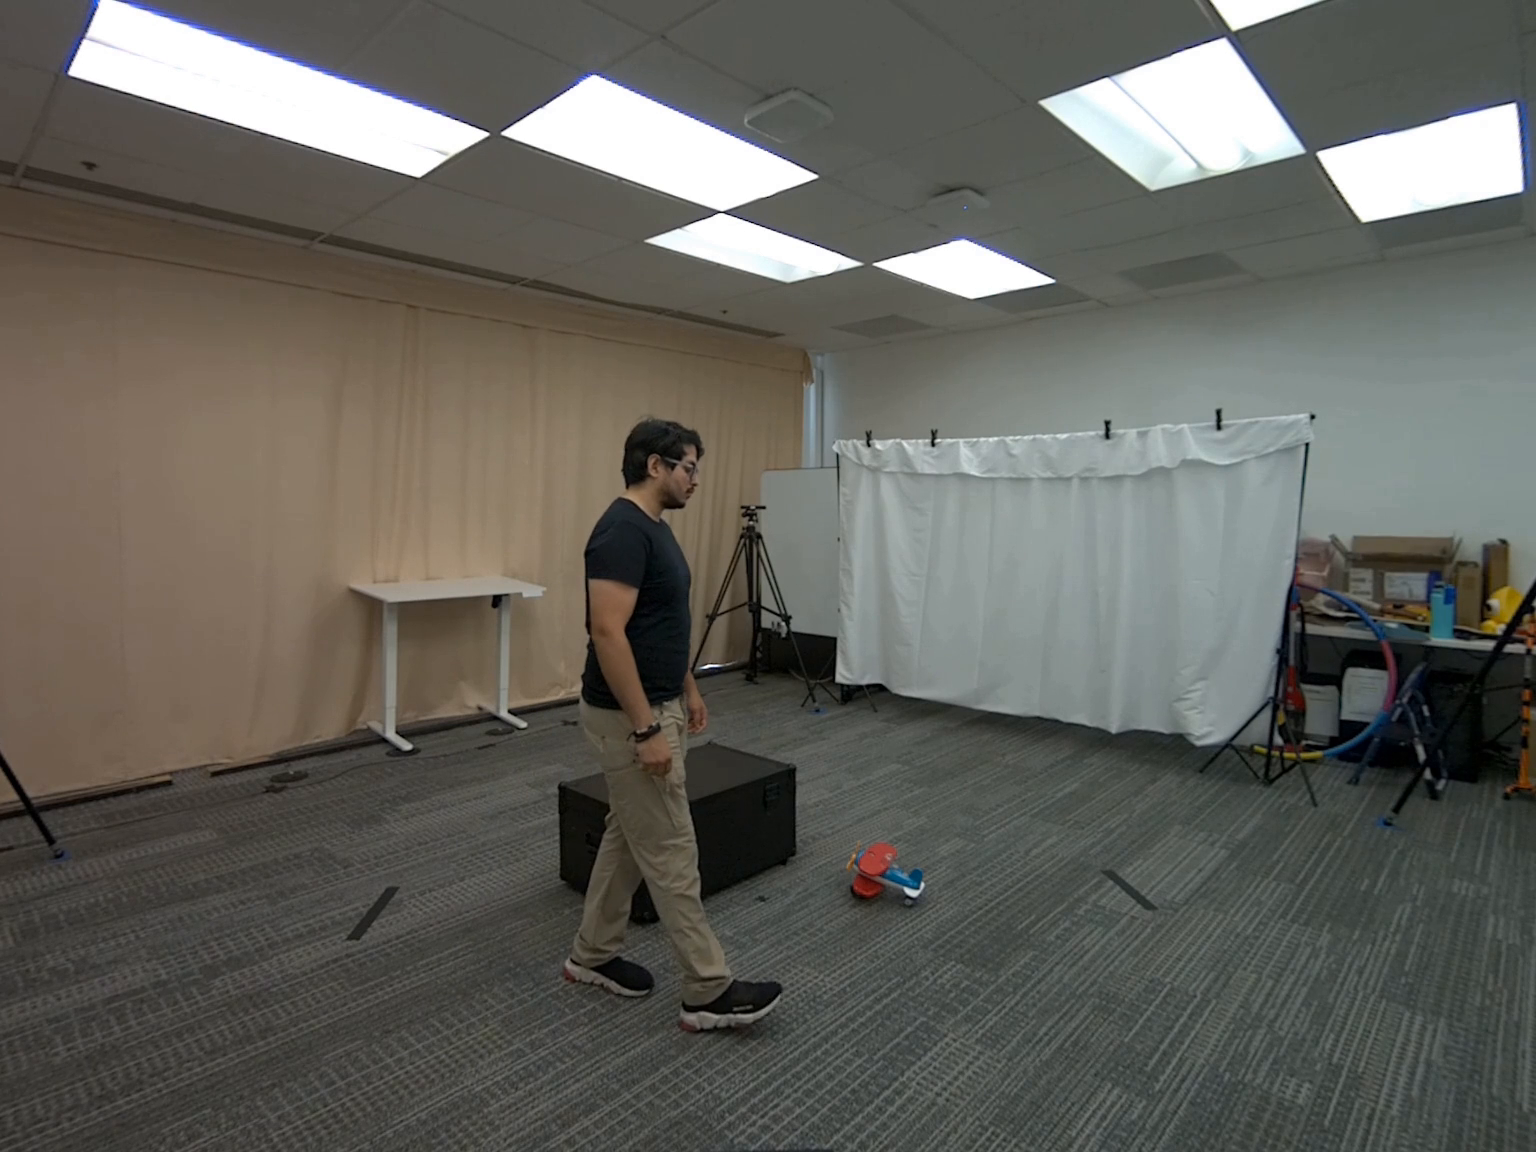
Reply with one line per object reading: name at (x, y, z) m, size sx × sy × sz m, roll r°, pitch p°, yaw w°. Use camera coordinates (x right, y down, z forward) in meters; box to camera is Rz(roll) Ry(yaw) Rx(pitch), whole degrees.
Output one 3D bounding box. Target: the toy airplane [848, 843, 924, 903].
toy airplane at (0.426, 1.065, 2.997) m, size 0.259 × 0.156 × 0.252 m, roll -2°, pitch 5°, yaw -1°
